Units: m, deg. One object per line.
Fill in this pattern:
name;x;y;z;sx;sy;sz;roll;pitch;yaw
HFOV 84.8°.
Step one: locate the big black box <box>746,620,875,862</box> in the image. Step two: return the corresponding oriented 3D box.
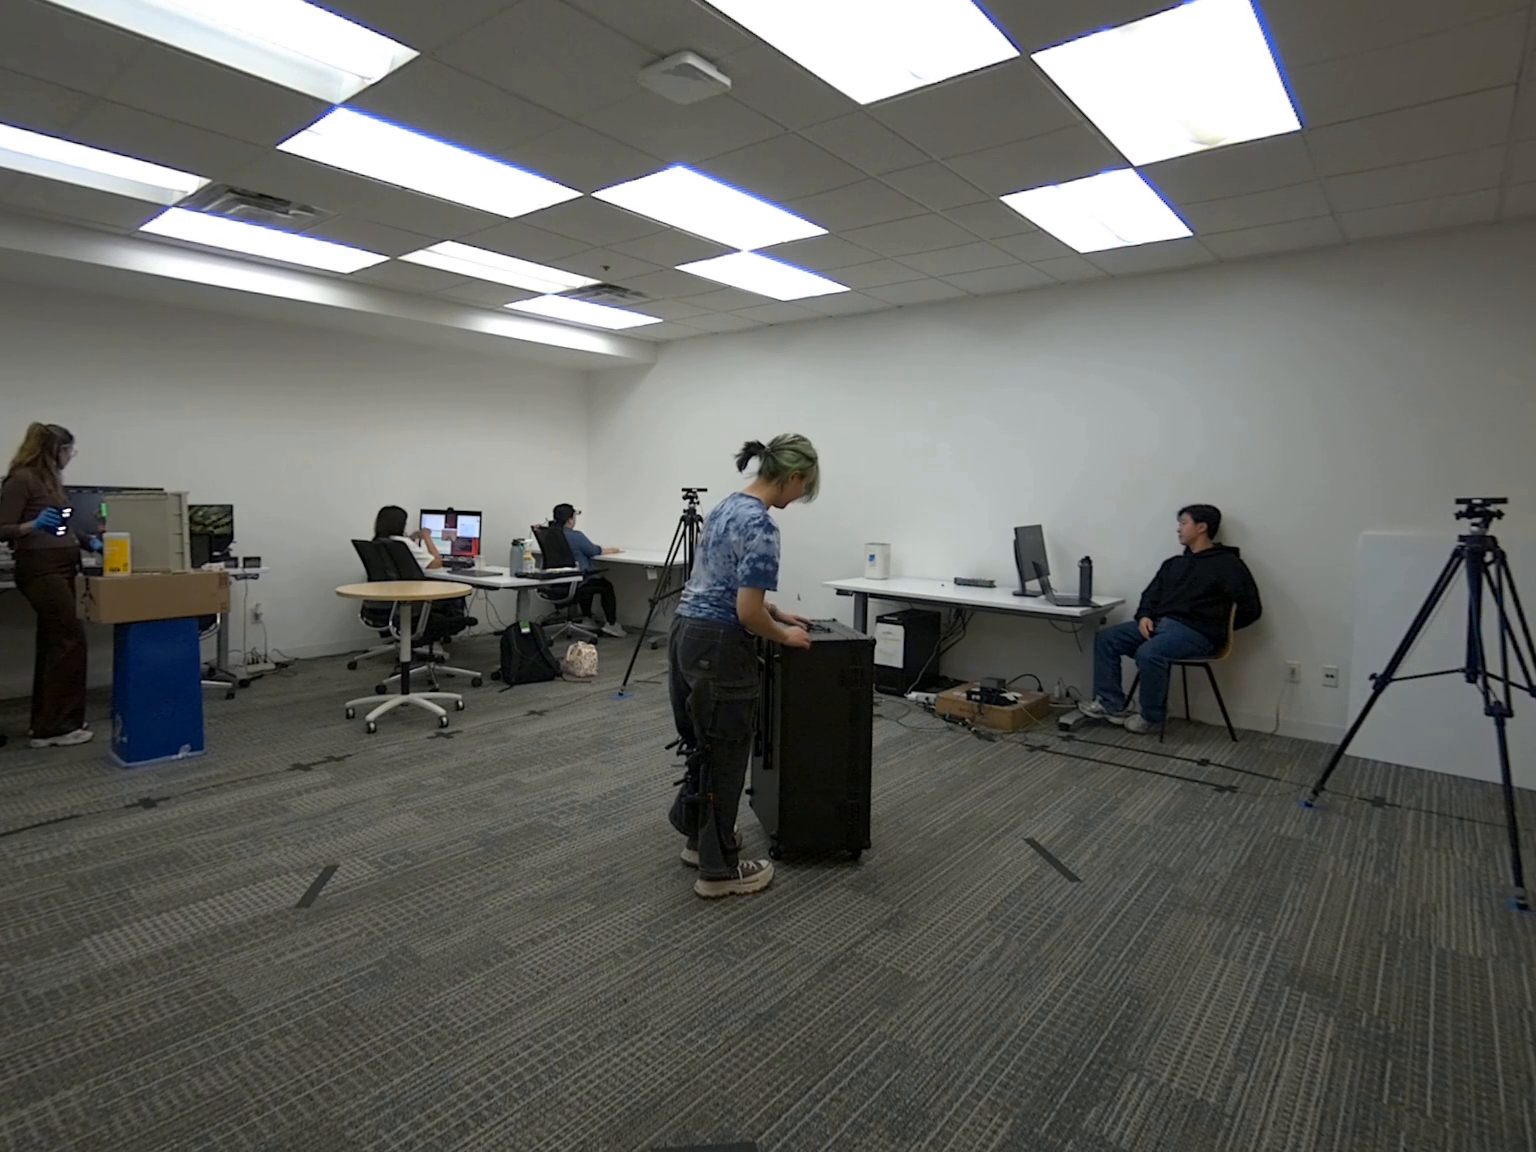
big black box;0.148;0.636;3.333;0.392;0.858;0.529;0;4;-10
